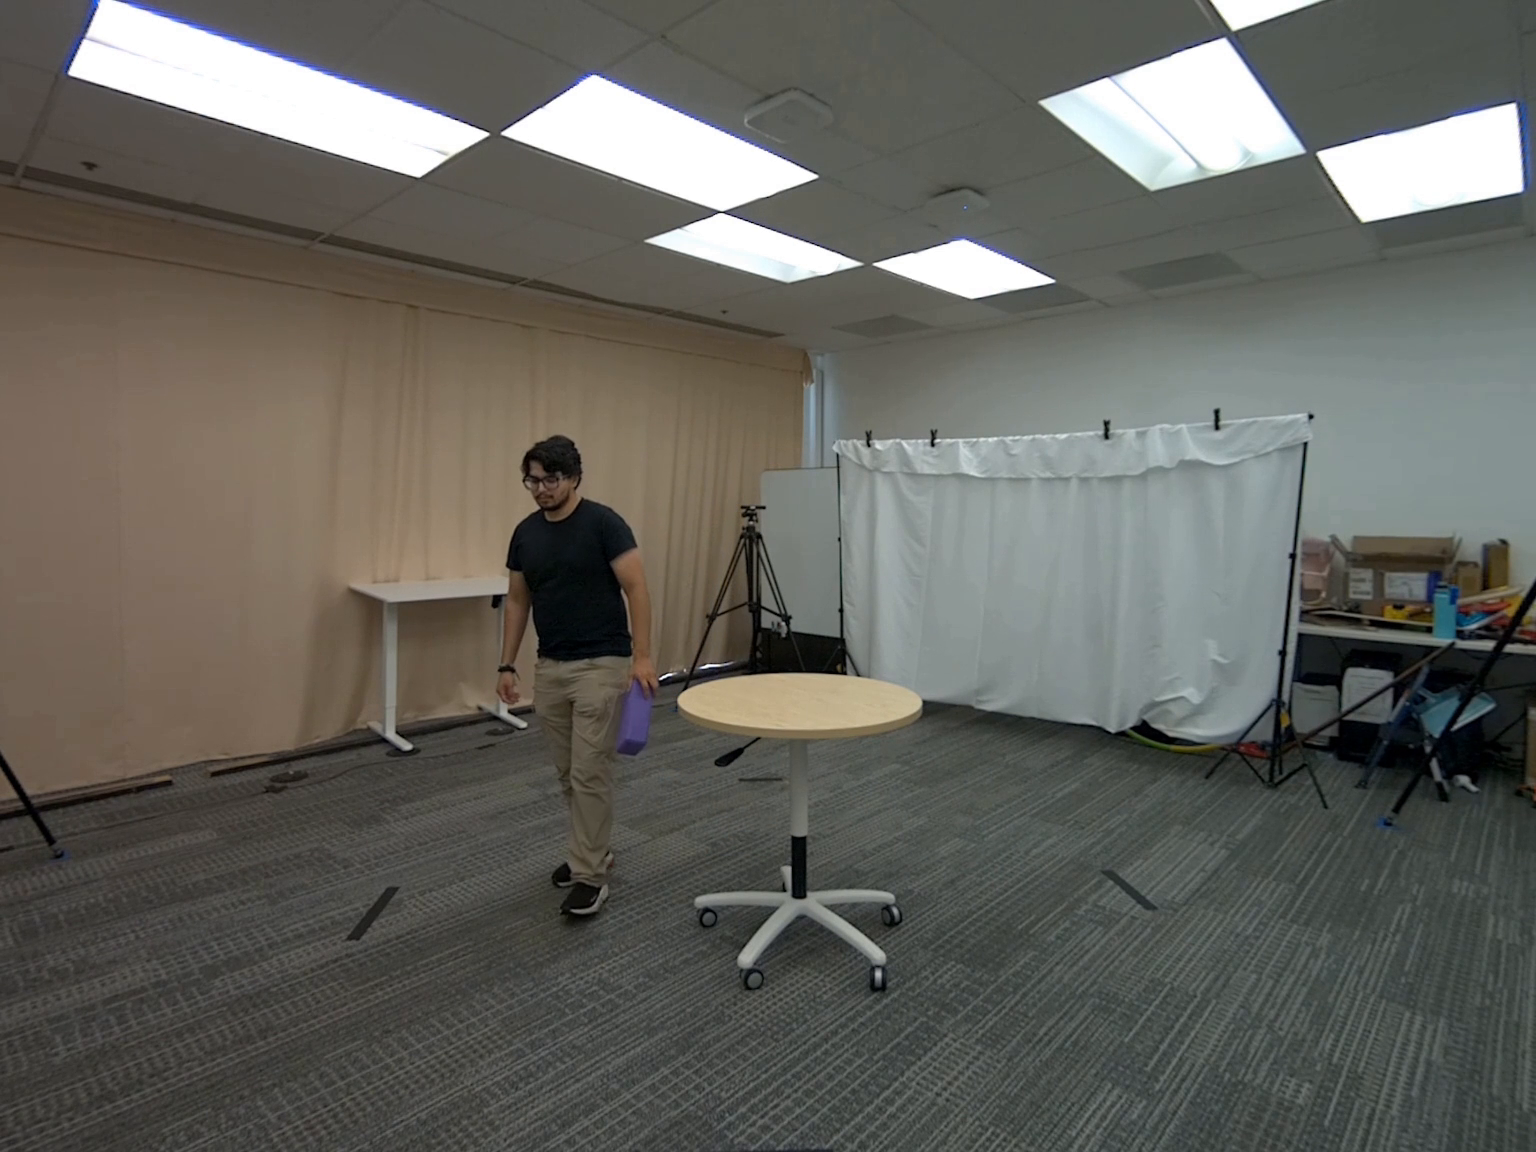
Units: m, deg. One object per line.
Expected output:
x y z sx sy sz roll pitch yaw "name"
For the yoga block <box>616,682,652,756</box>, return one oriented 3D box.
-0.455 0.494 2.889 0.075 0.232 0.149 16 -33 -12 "yoga block"
